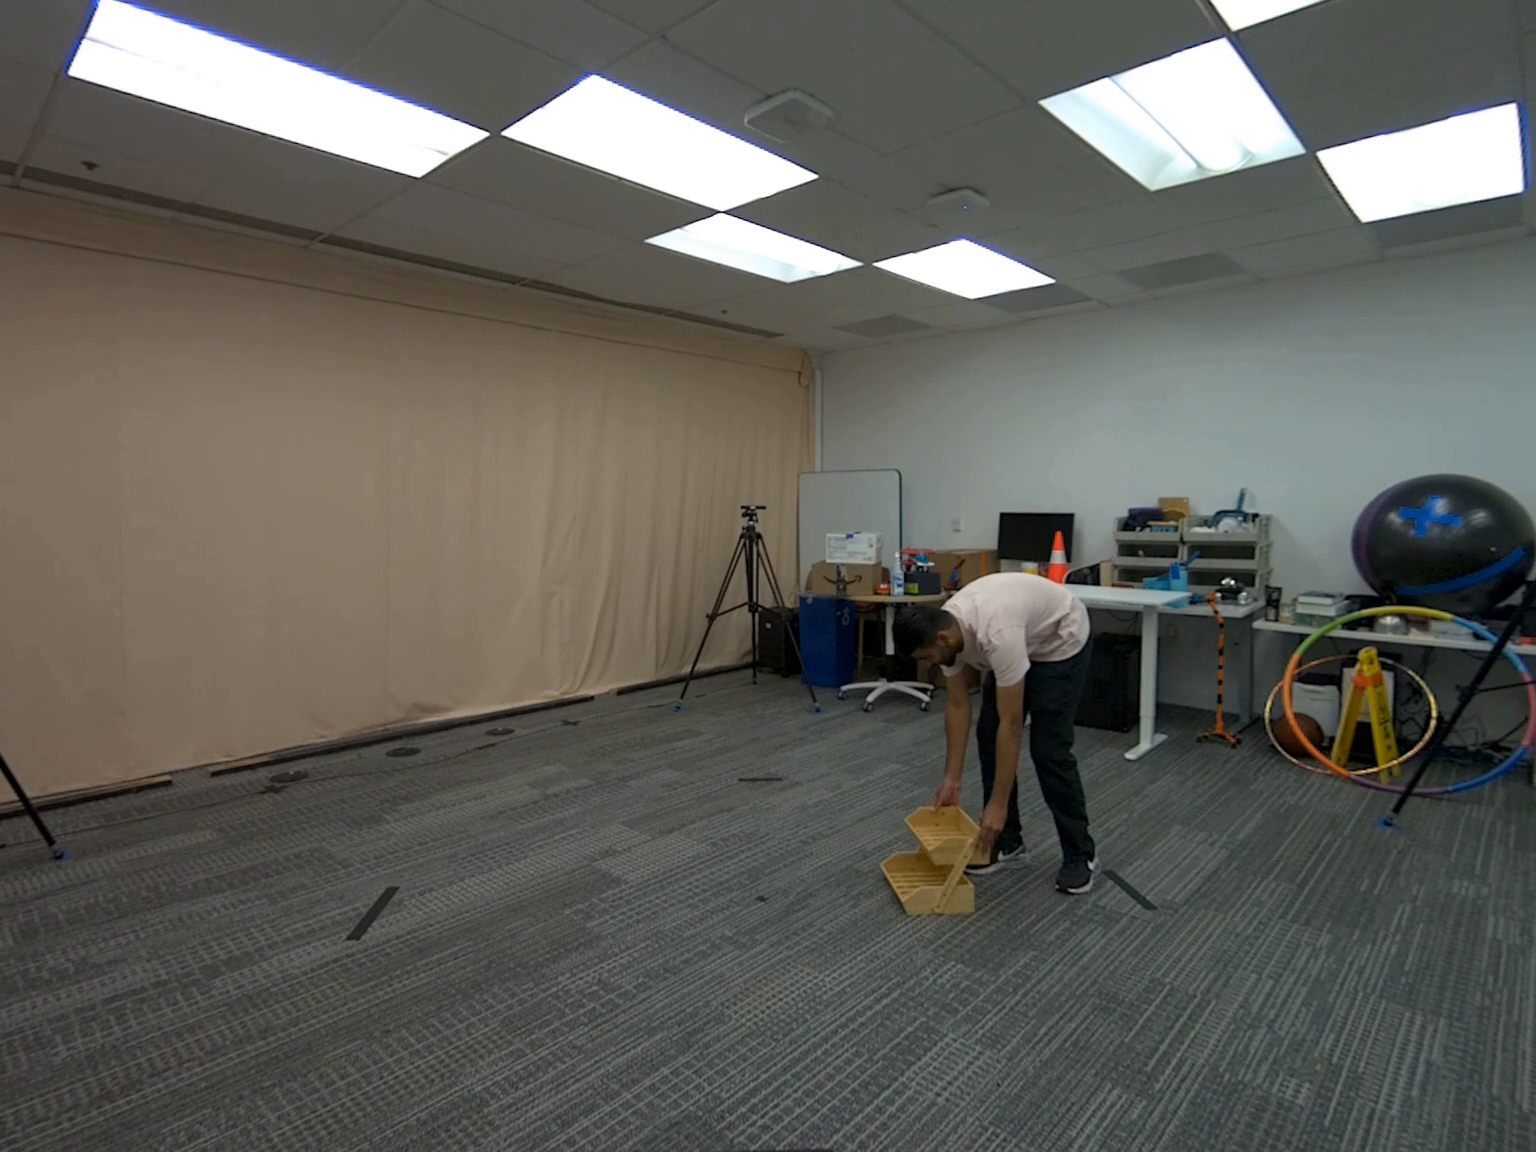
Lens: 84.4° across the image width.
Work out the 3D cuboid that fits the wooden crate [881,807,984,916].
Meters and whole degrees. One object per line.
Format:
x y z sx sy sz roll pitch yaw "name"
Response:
0.585 1.010 3.010 0.300 0.273 0.327 0 4 -5 "wooden crate"
